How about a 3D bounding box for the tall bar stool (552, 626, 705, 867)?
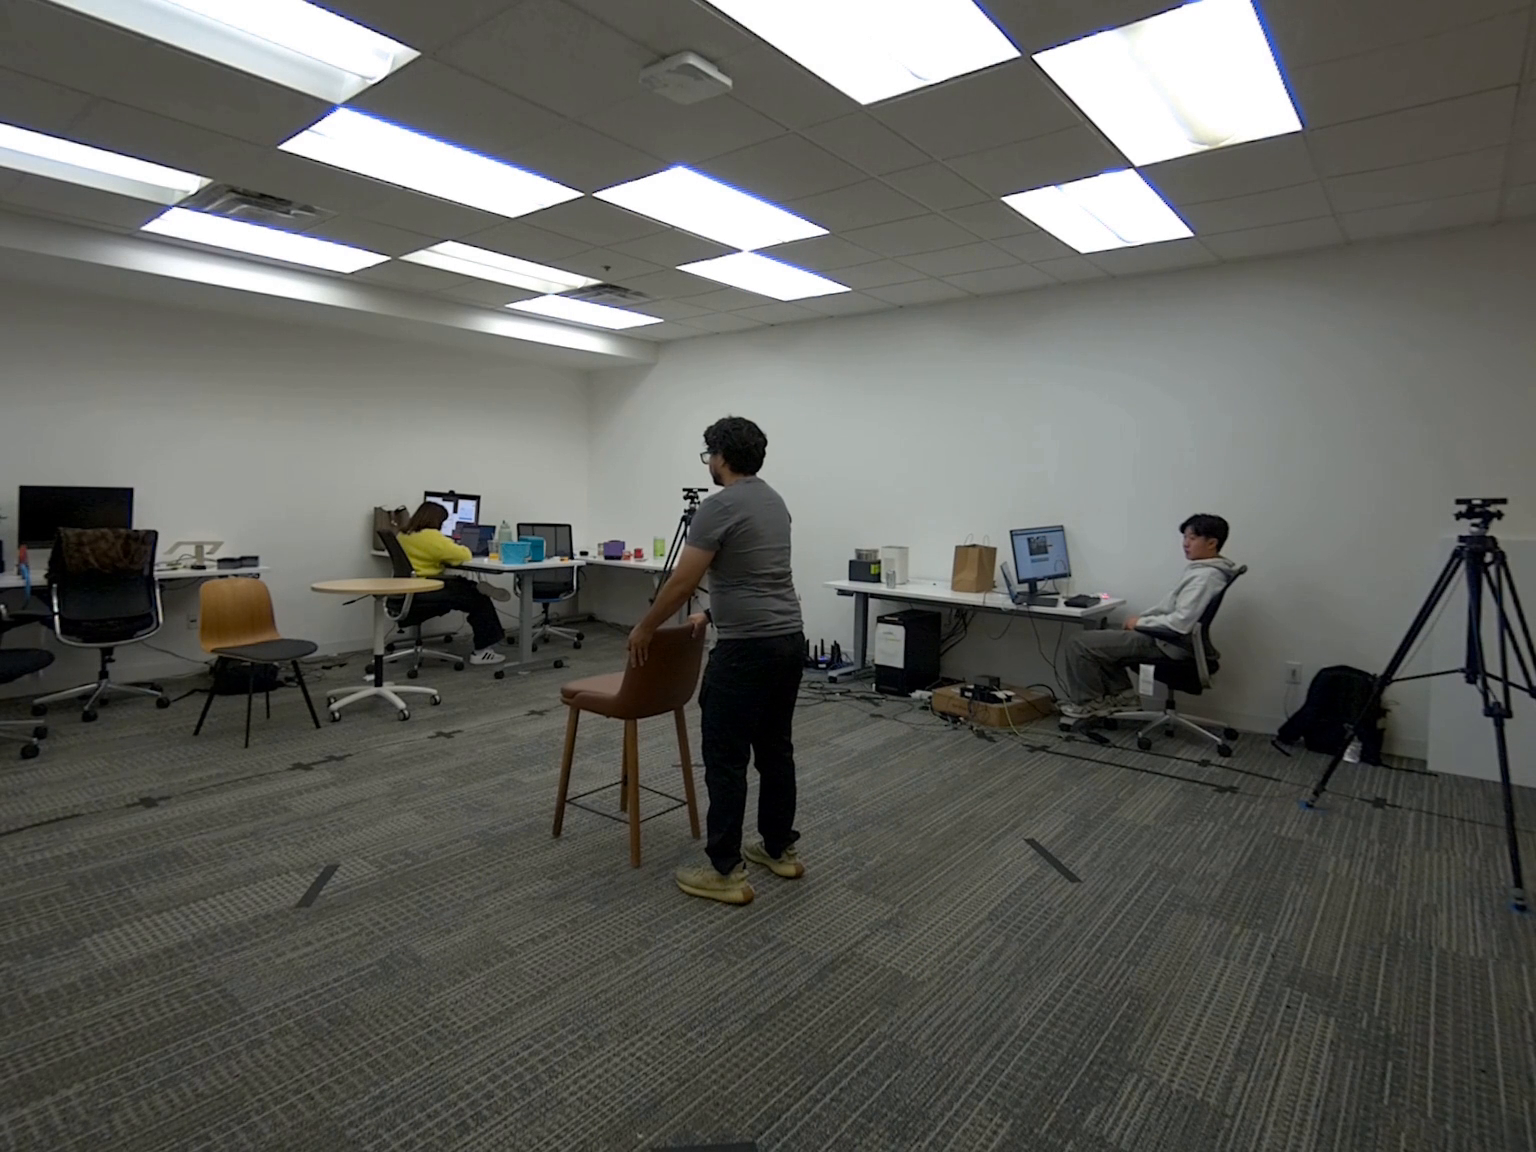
[{"bbox_3d":[-0.546,0.599,3.364,0.483,0.887,0.443,6,5,37],"label":"tall bar stool"}]
